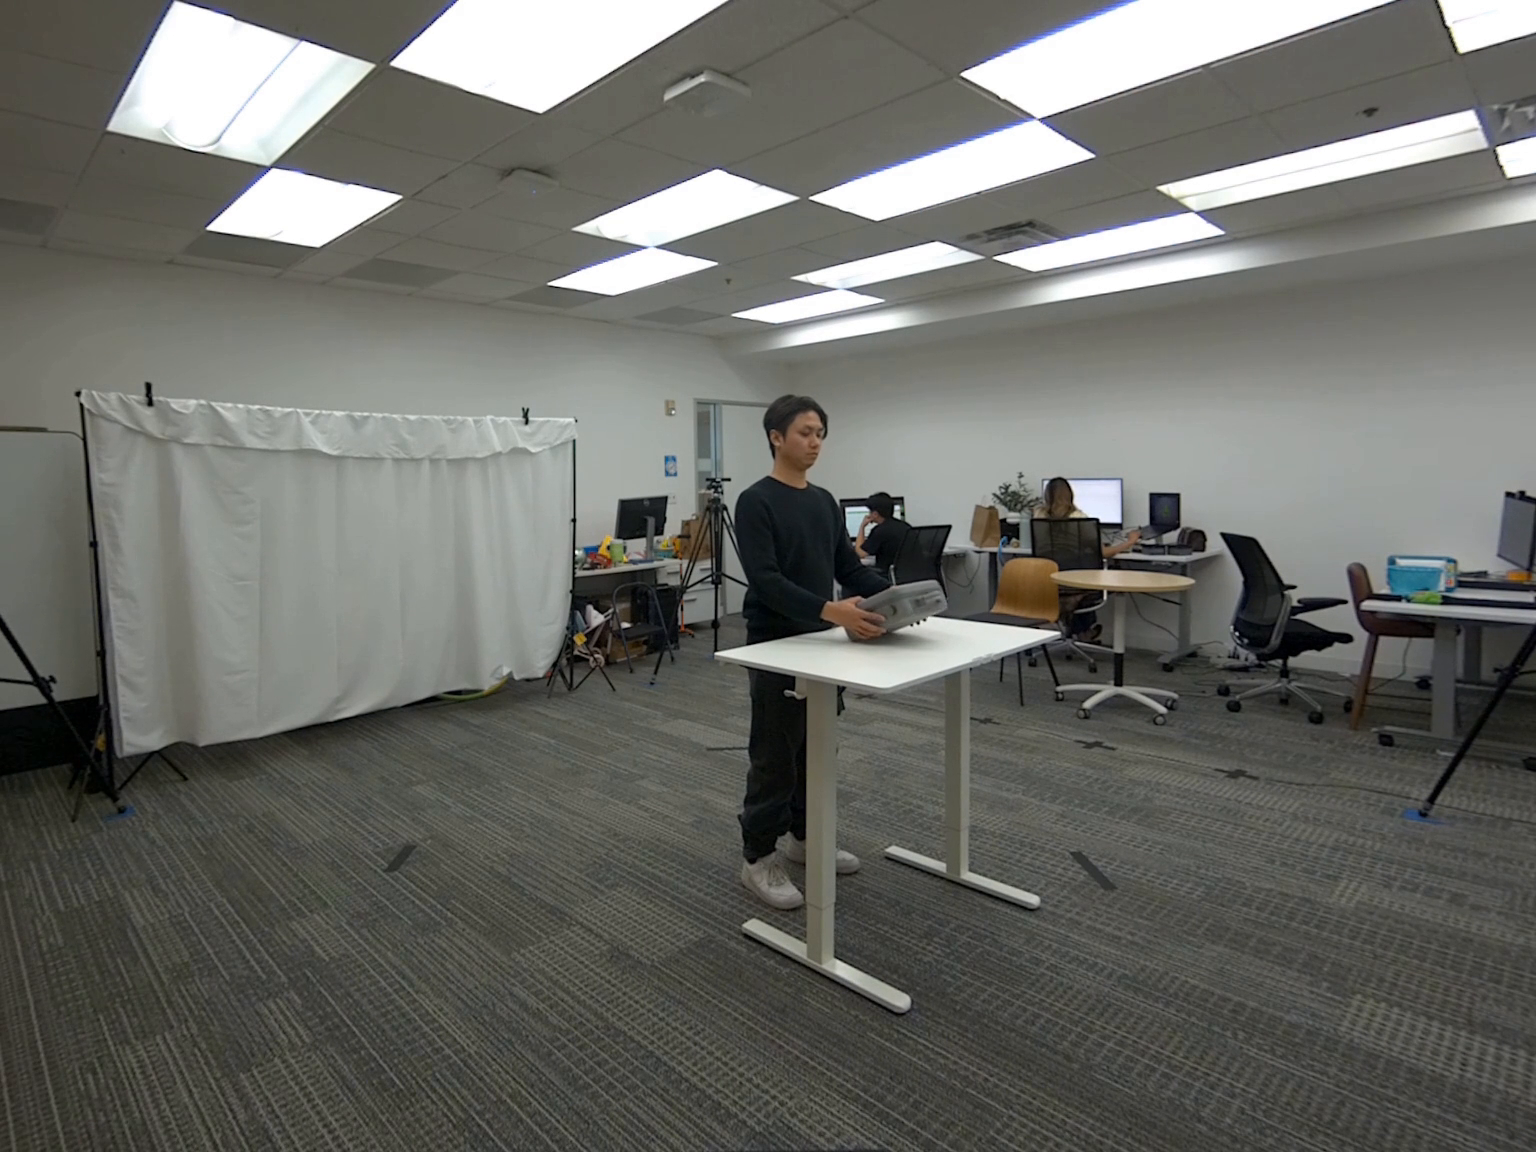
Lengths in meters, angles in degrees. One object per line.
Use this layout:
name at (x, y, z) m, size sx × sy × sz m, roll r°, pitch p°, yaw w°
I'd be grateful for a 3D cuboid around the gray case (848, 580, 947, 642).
gray case at (0.399, 0.105, 2.675) m, size 0.250 × 0.106 × 0.264 m, roll -4°, pitch -16°, yaw -47°
